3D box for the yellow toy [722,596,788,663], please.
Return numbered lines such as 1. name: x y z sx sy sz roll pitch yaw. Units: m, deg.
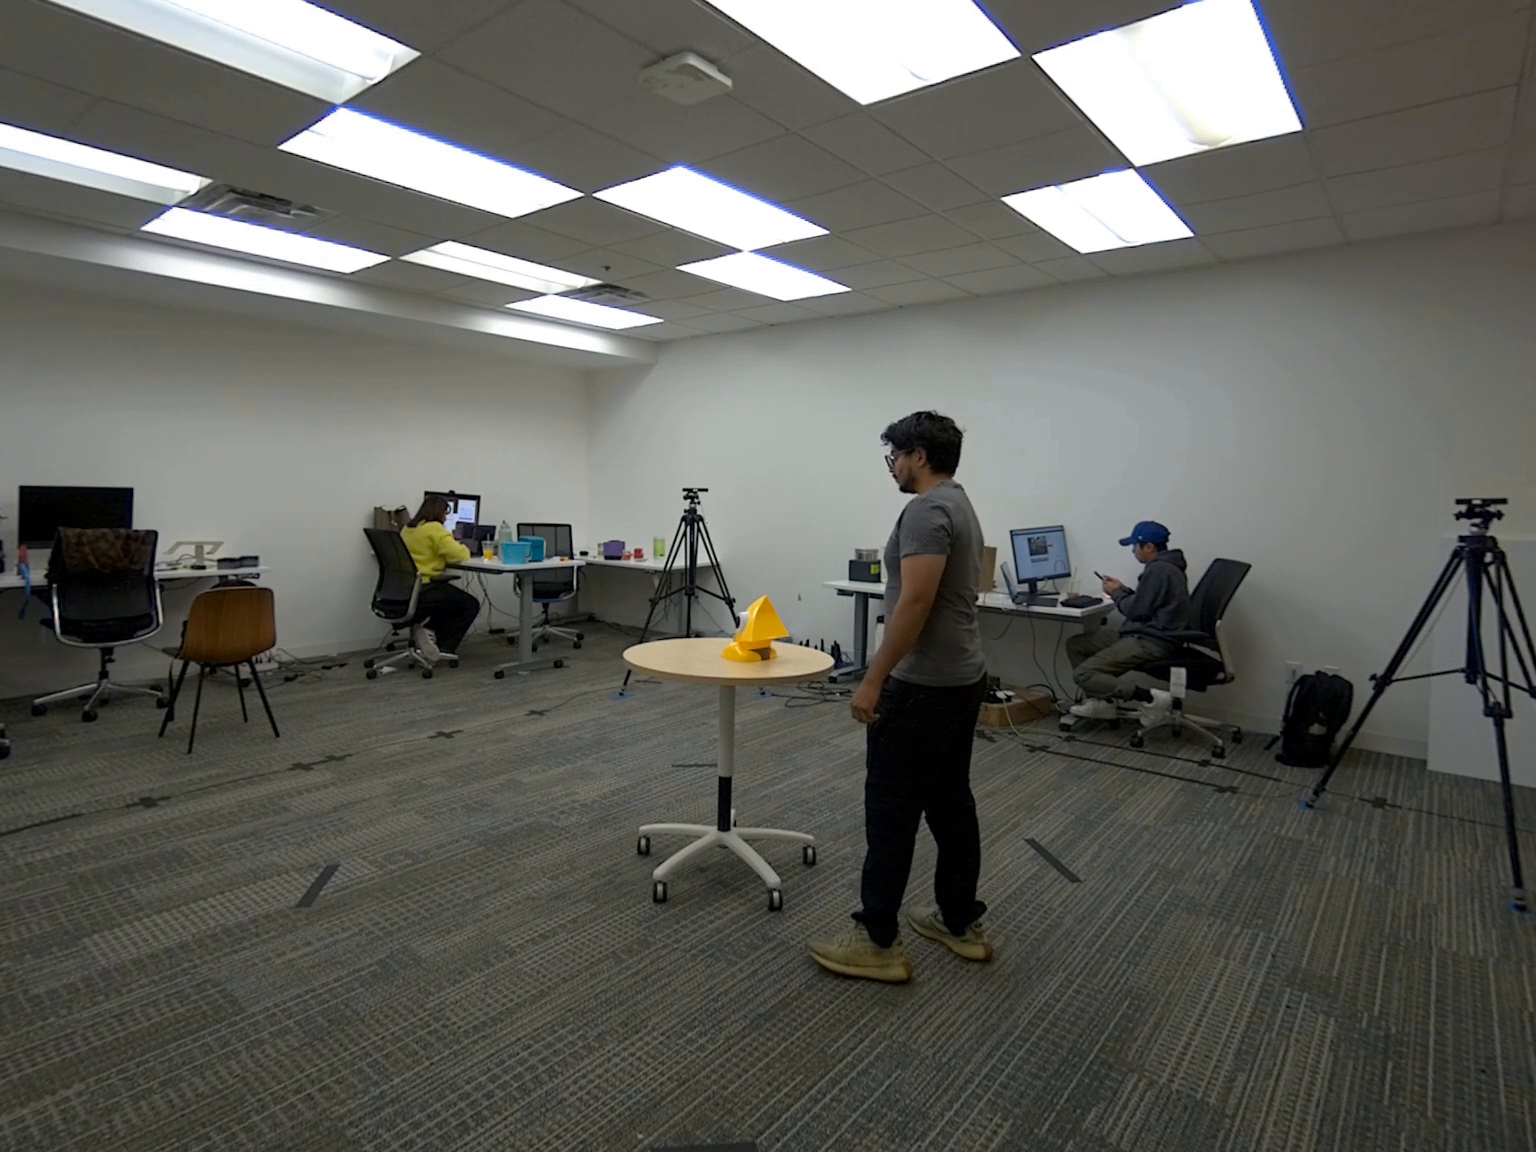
1. yellow toy: -0.068 0.177 3.079 0.199 0.230 0.198 4 5 43
